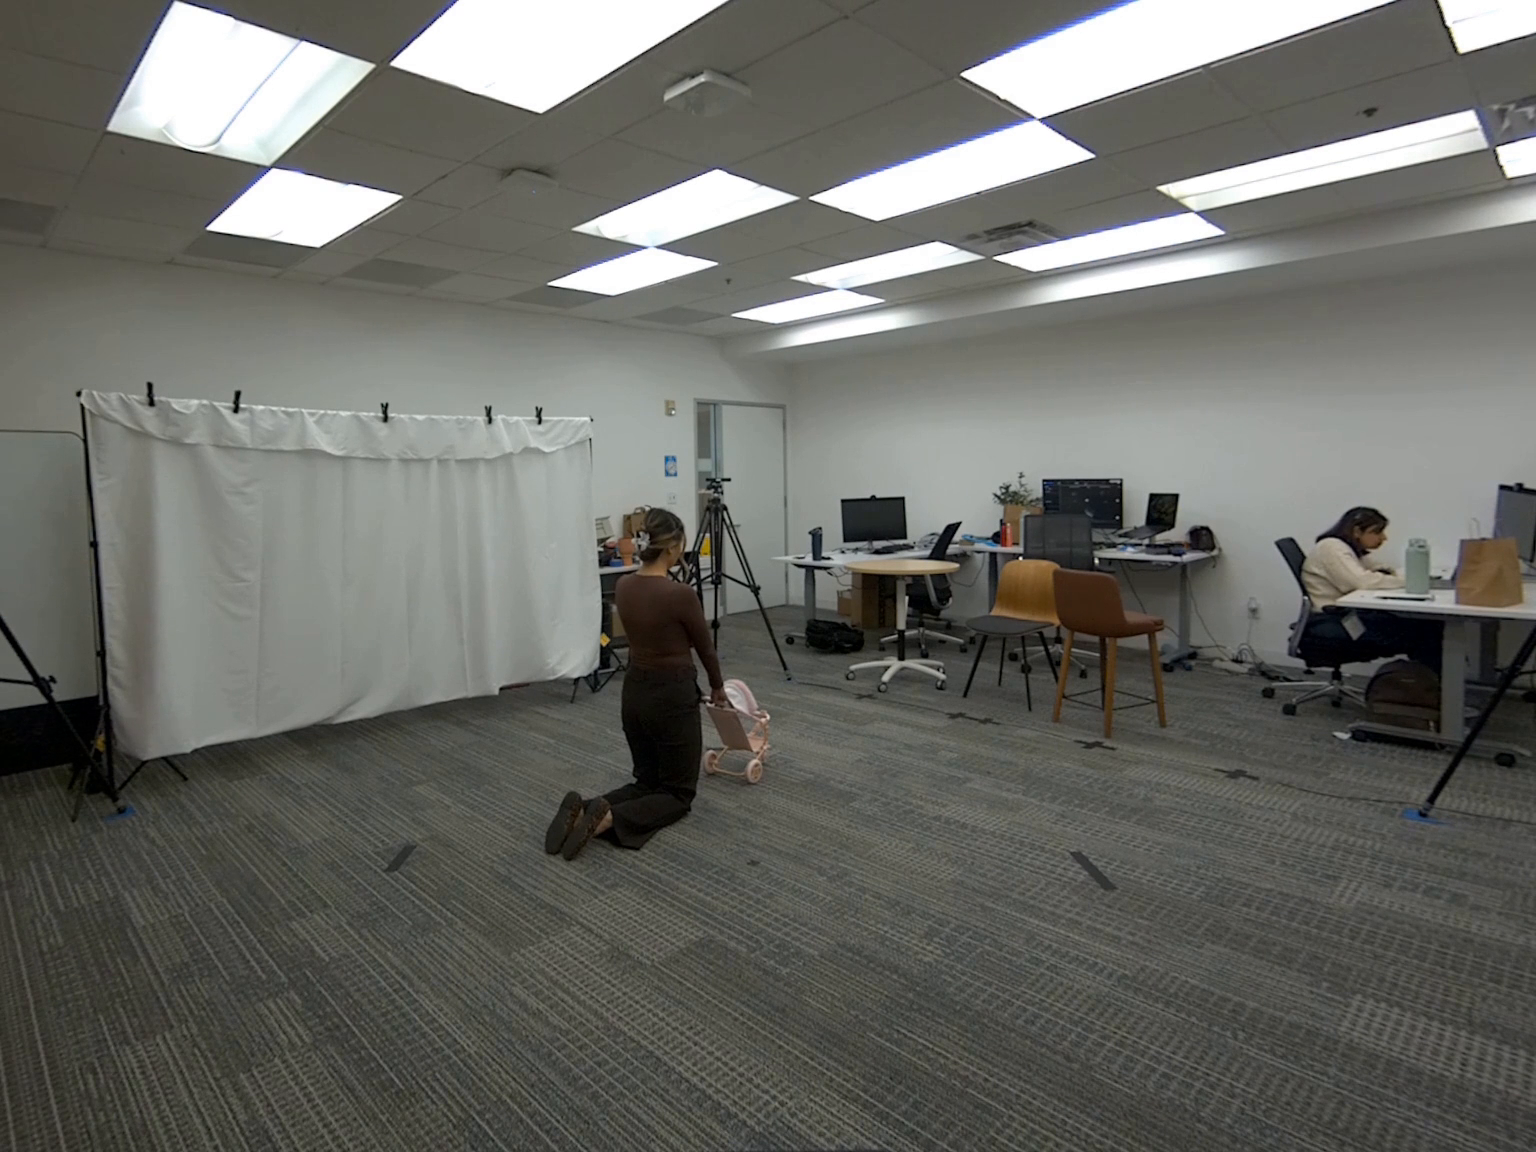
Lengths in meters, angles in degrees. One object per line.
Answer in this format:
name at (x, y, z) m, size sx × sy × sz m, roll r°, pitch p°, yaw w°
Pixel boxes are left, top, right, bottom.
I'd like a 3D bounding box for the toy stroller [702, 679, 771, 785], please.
toy stroller at (-0.137, 0.717, 4.028) m, size 0.290 × 0.525 × 0.337 m, roll 3°, pitch 23°, yaw 39°
